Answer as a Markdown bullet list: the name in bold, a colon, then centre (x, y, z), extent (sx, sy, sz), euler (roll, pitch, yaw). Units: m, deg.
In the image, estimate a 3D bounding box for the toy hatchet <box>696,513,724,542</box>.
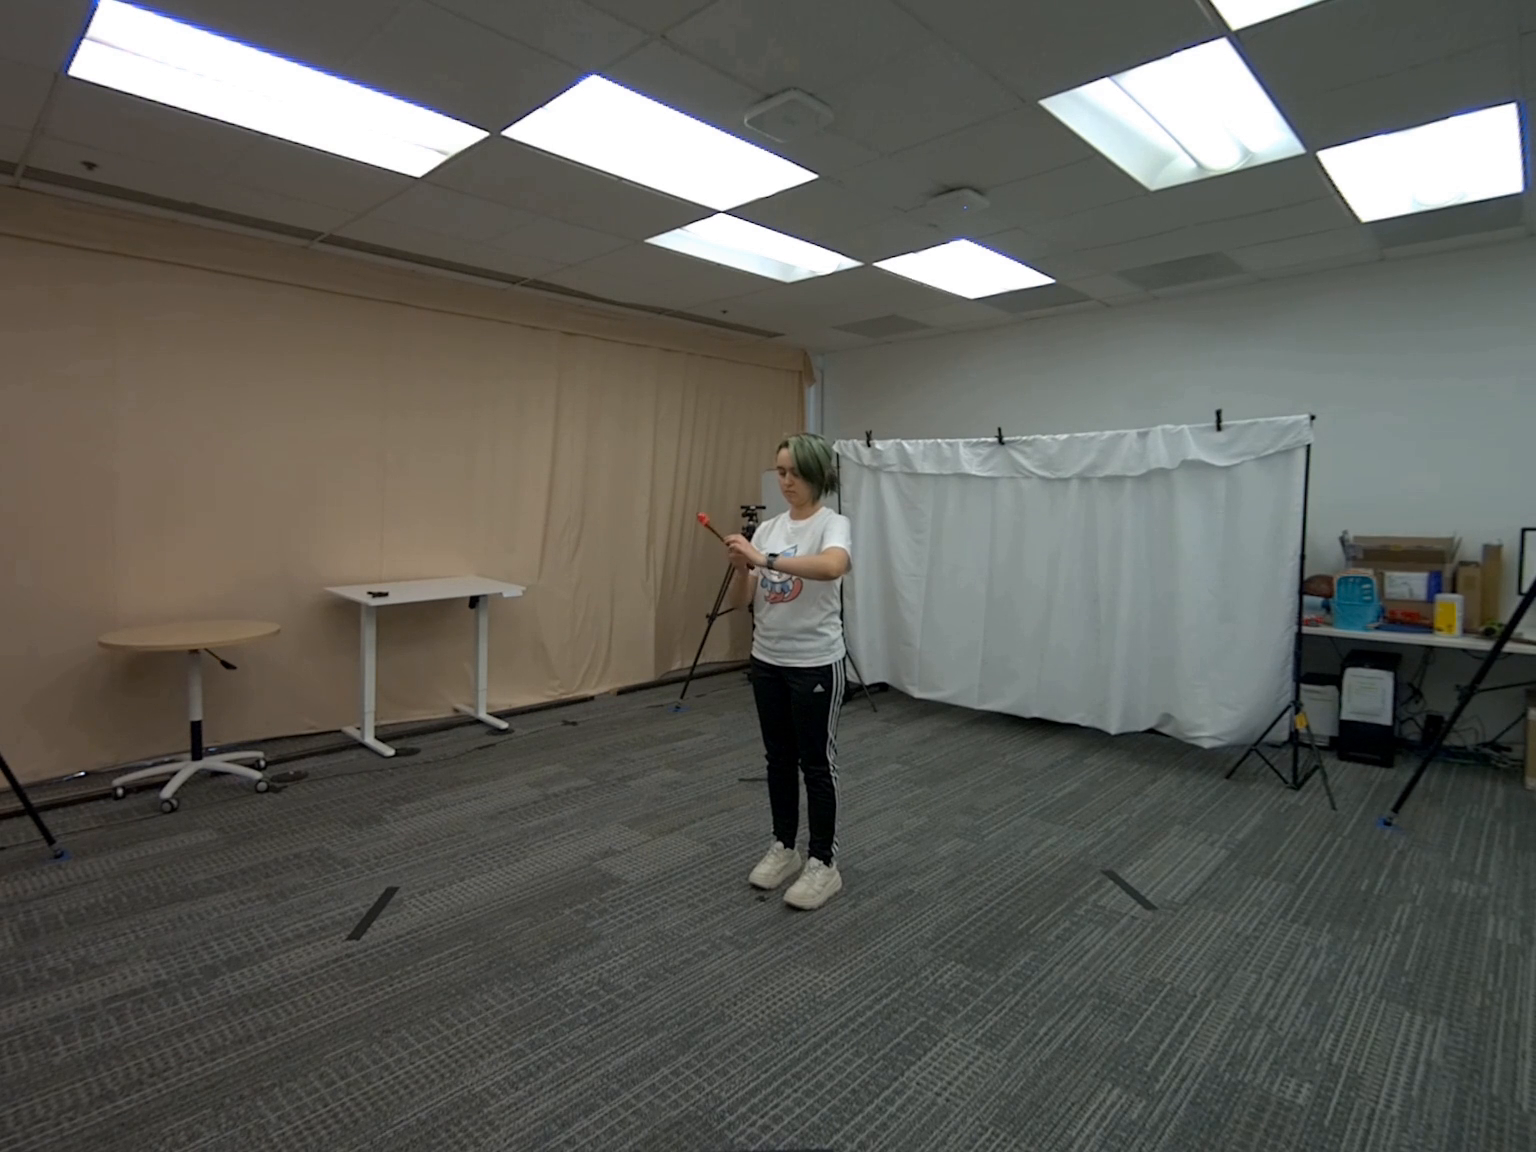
- **toy hatchet**: centre (-0.144, -0.119, 2.919), extent (0.029, 0.268, 0.132), euler (-45, 5, -5)
